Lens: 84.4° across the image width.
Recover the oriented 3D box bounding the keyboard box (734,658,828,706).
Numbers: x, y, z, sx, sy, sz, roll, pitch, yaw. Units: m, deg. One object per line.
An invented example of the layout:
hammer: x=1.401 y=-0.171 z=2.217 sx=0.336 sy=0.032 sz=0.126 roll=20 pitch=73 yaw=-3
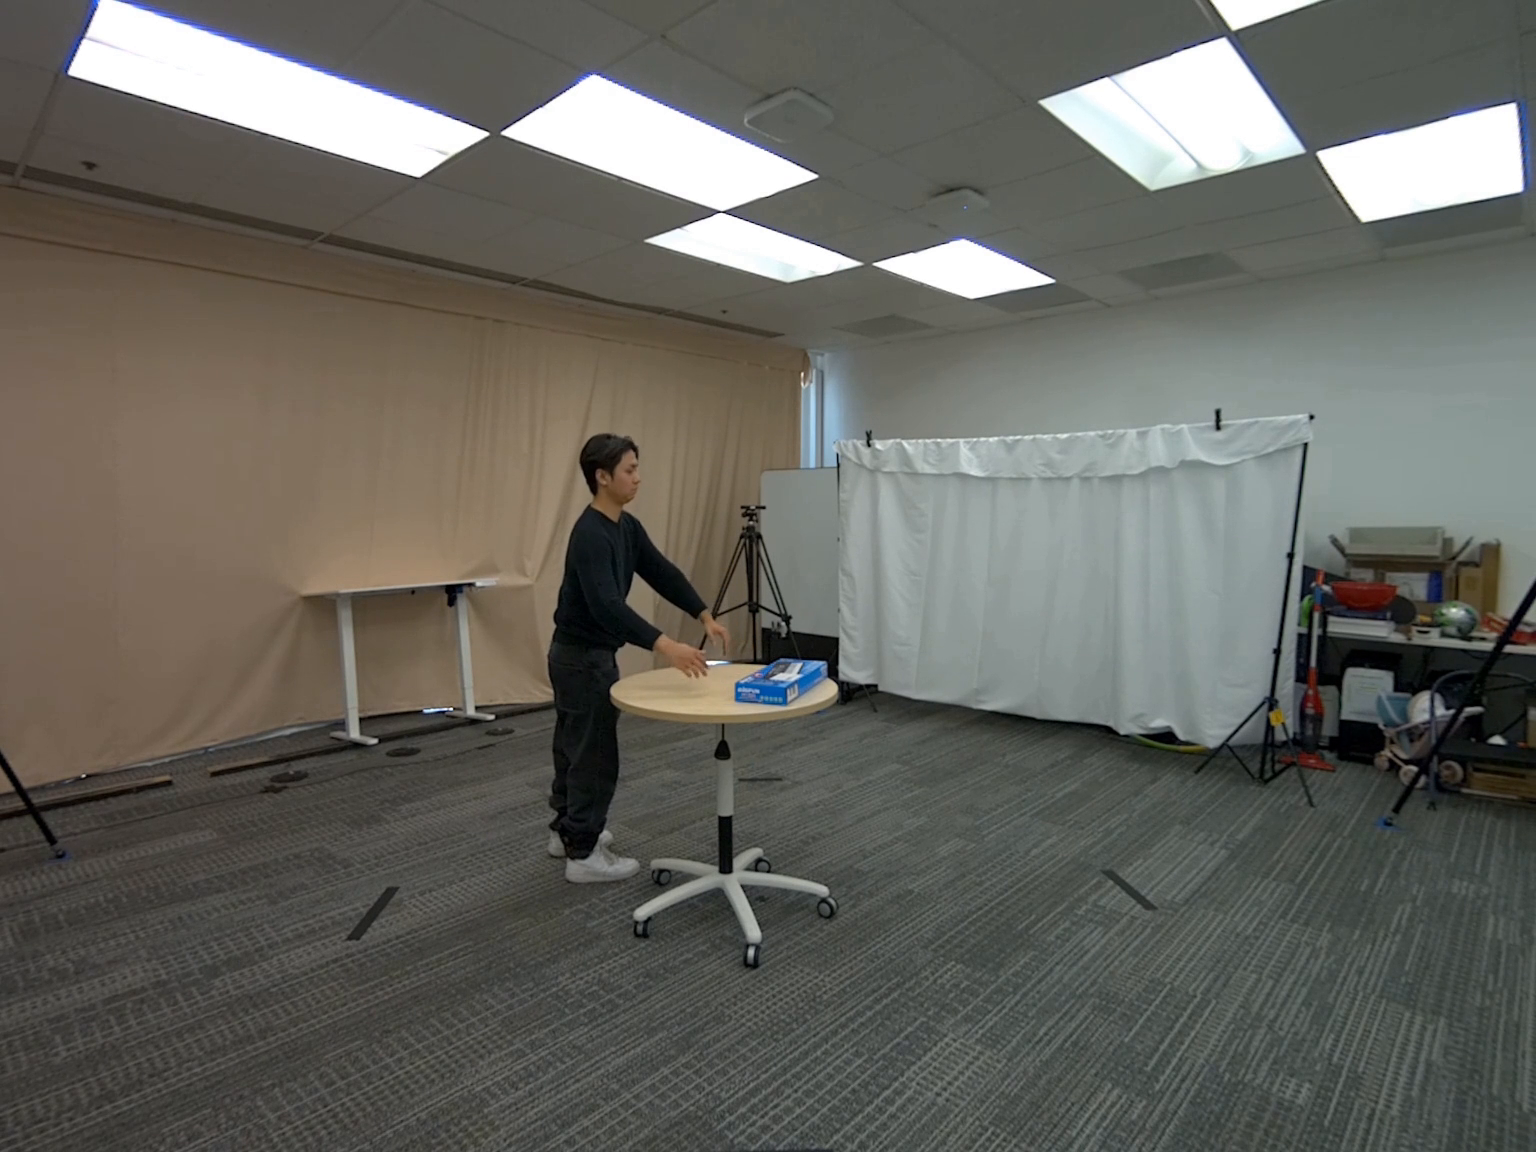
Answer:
keyboard box: x=0.052 y=0.349 z=2.788 sx=0.180 sy=0.059 sz=0.428 roll=1 pitch=6 yaw=21
